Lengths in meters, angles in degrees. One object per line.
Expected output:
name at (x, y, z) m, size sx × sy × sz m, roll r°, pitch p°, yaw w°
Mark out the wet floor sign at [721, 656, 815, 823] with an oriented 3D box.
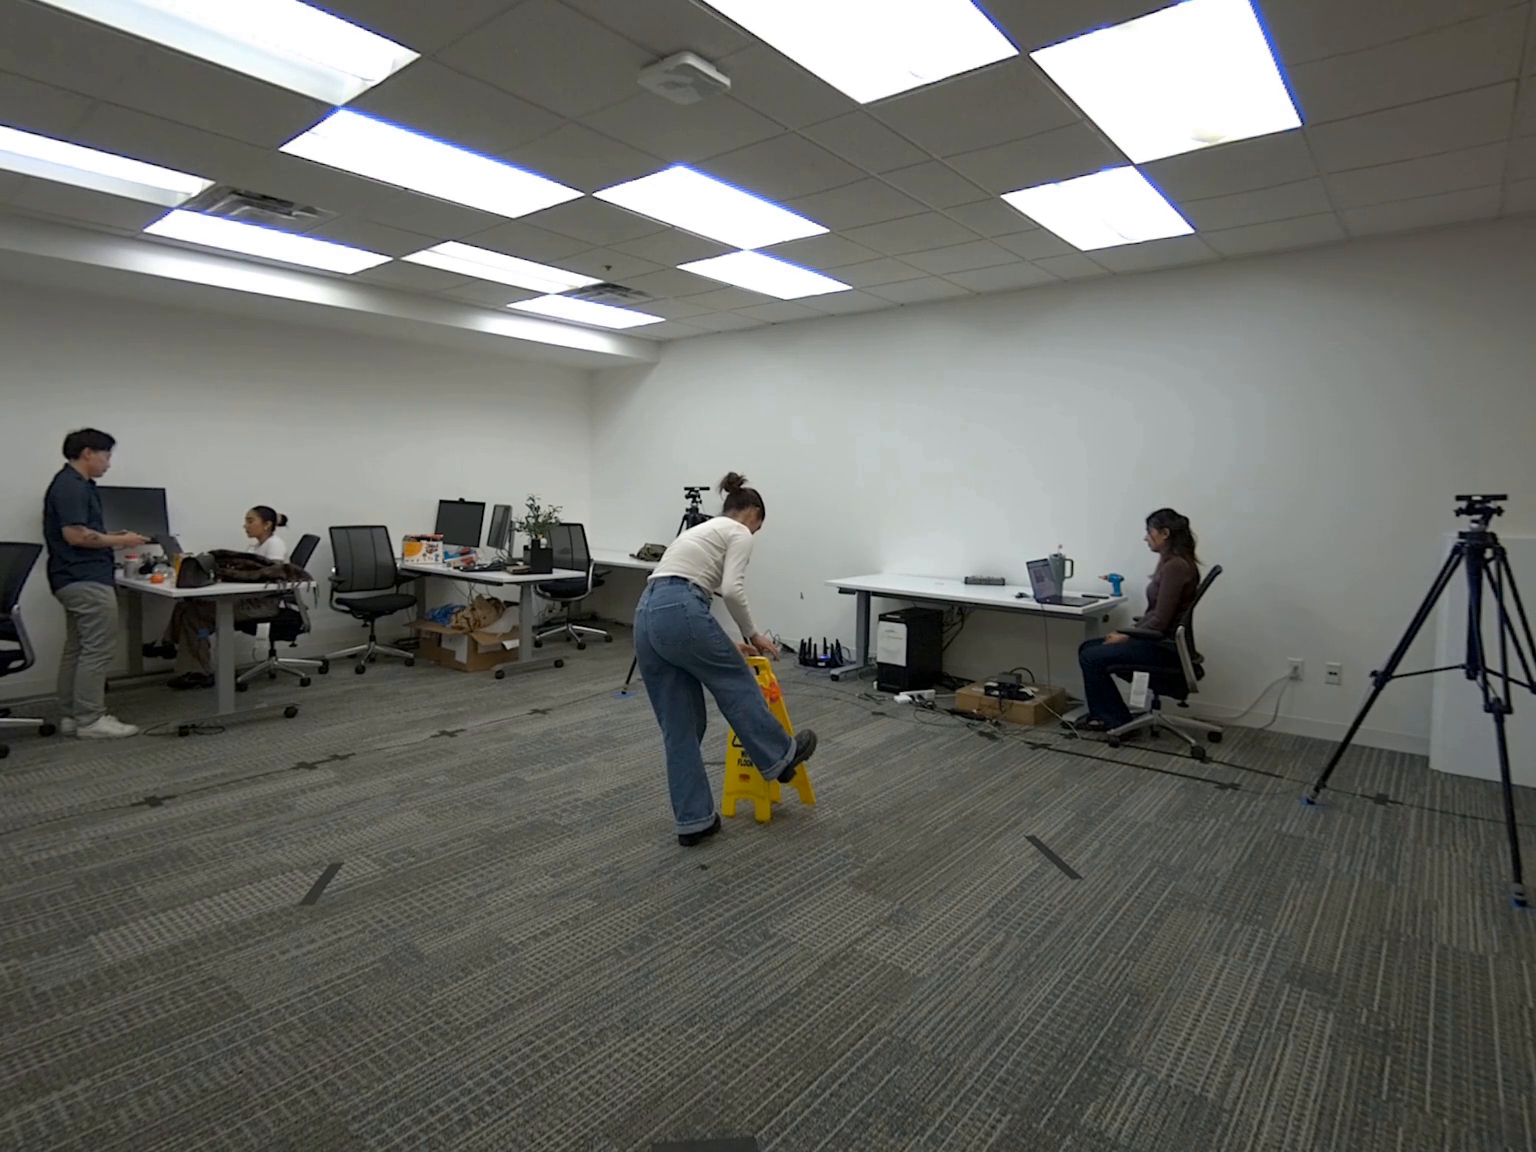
wet floor sign at (-0.043, 0.673, 3.657) m, size 0.281 × 0.650 × 0.289 m, roll -3°, pitch -8°, yaw -43°
